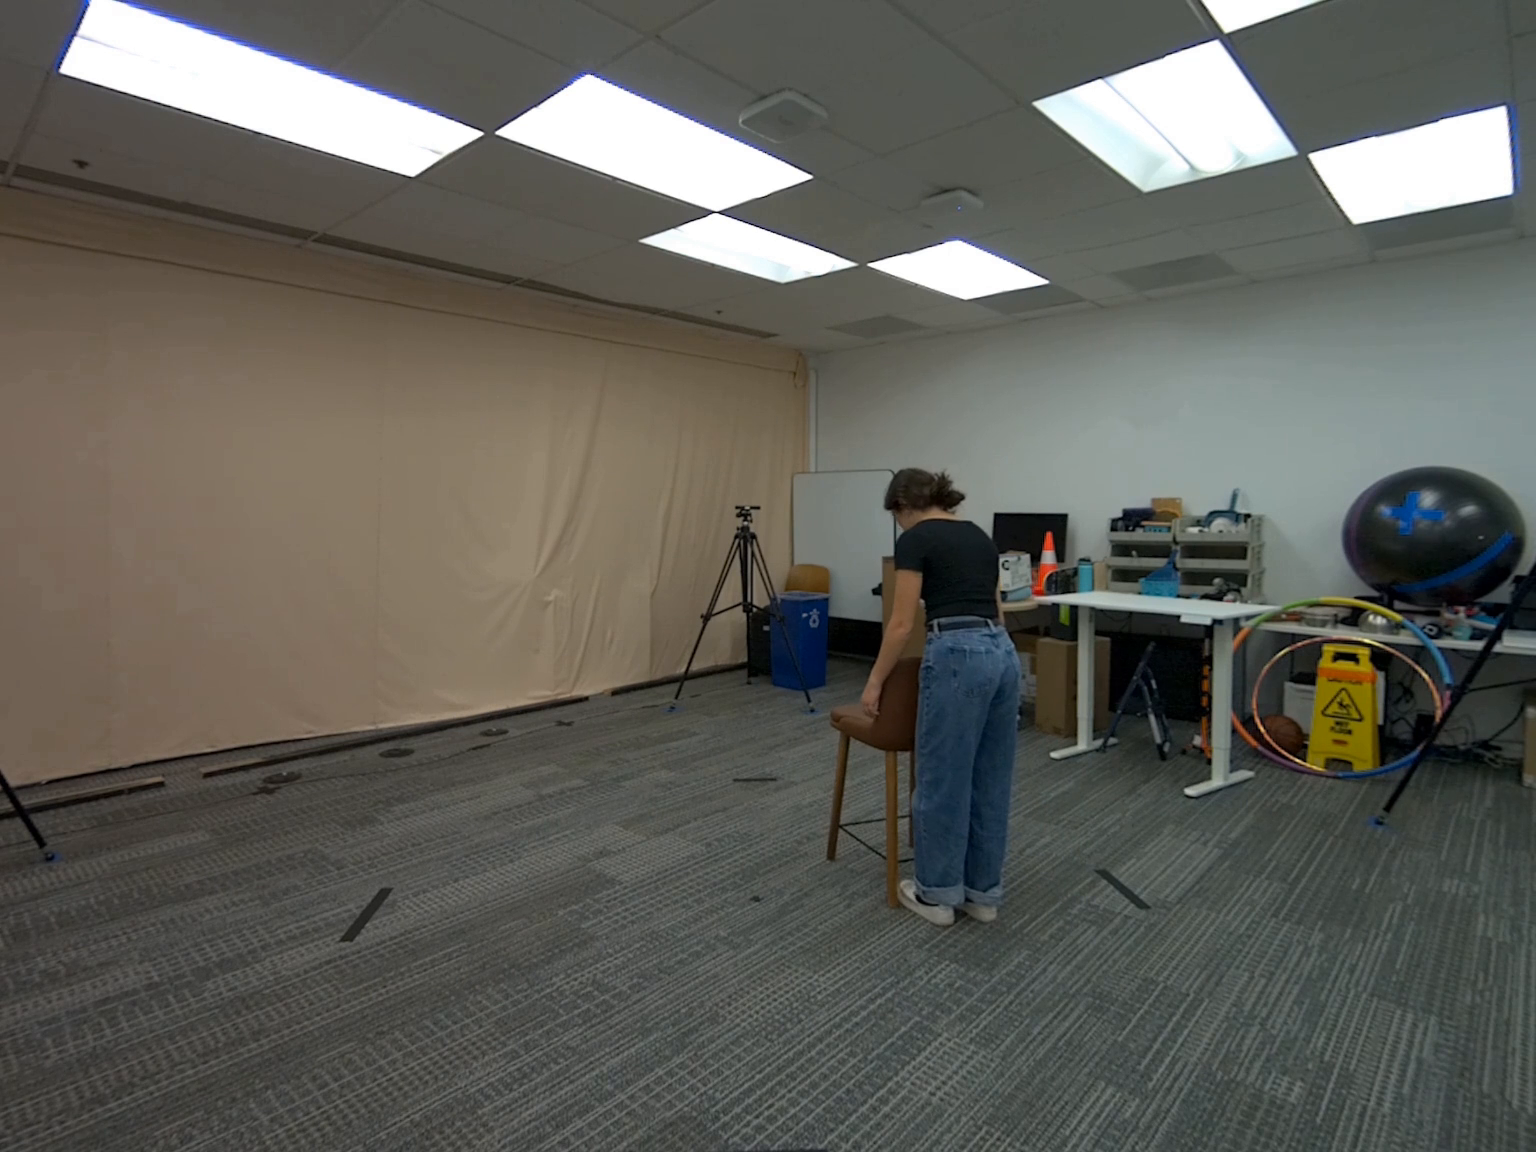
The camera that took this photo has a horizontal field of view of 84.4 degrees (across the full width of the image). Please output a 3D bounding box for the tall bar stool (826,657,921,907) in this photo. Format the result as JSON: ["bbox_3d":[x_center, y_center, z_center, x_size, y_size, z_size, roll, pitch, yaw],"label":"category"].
[{"bbox_3d":[0.516,0.690,3.154,0.446,0.887,0.479,-1,5,-23],"label":"tall bar stool"}]
